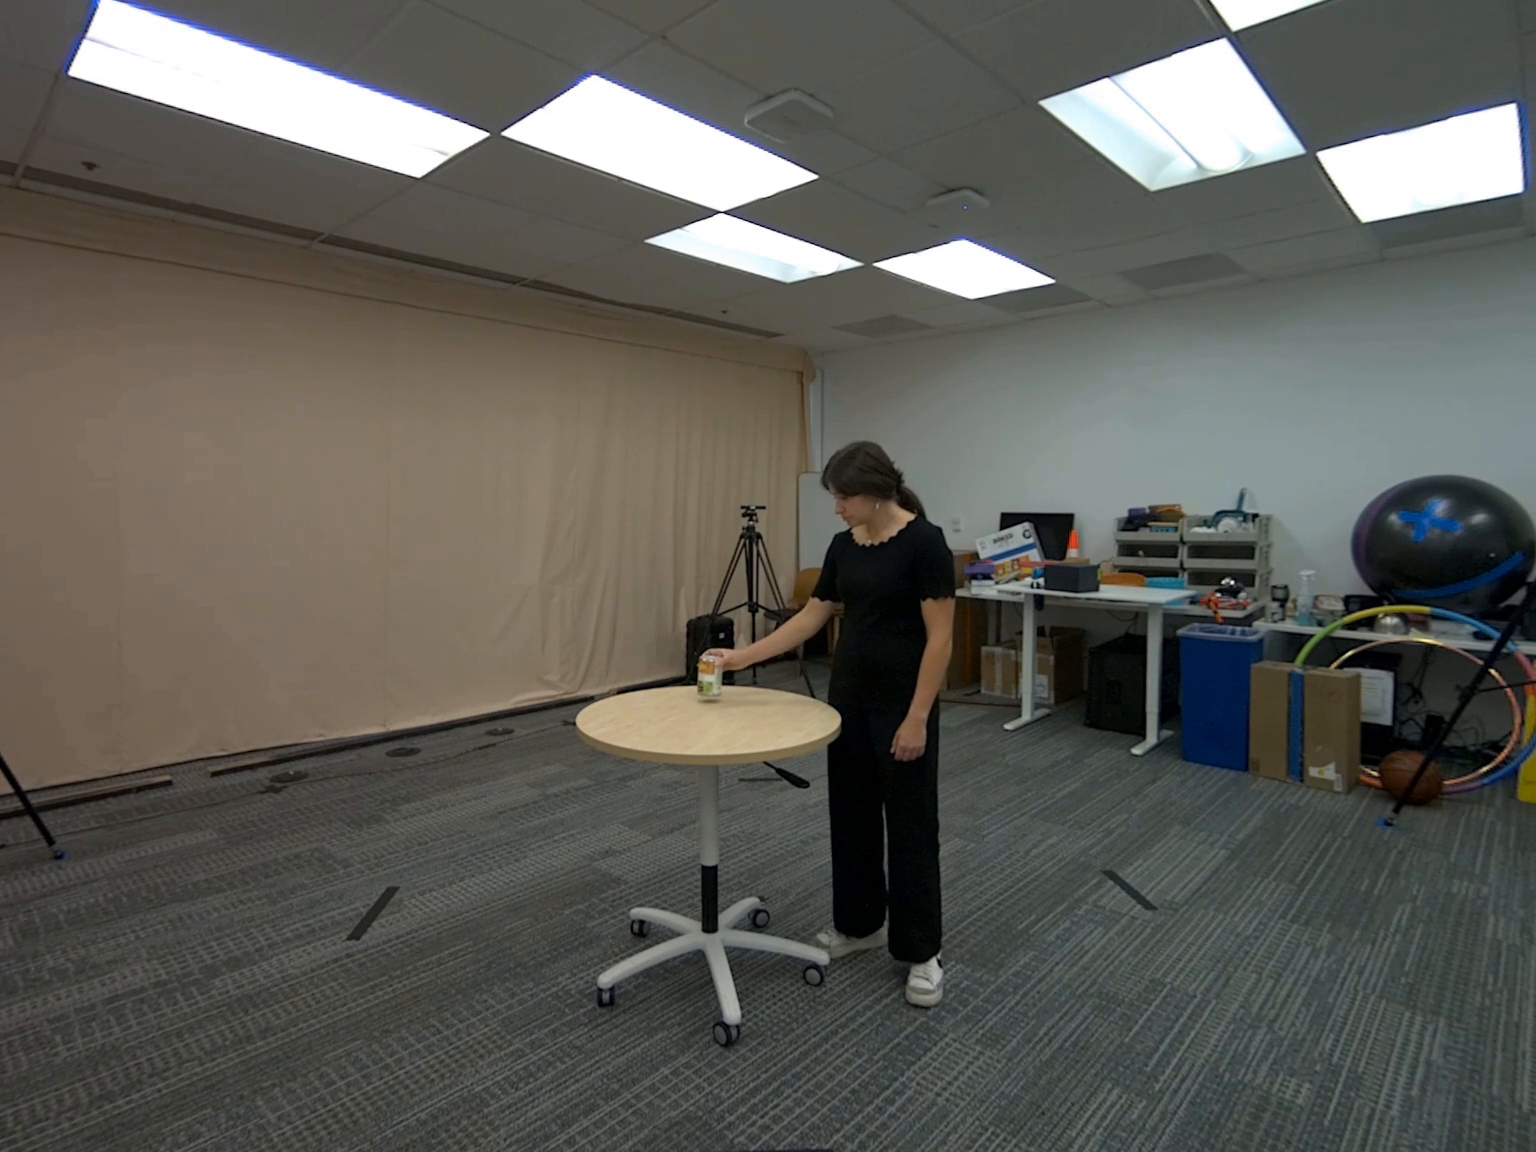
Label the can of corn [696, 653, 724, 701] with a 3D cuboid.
[{"bbox_3d":[-0.170,0.317,2.607,0.074,0.111,0.074,5,6,-2],"label":"can of corn"}]
